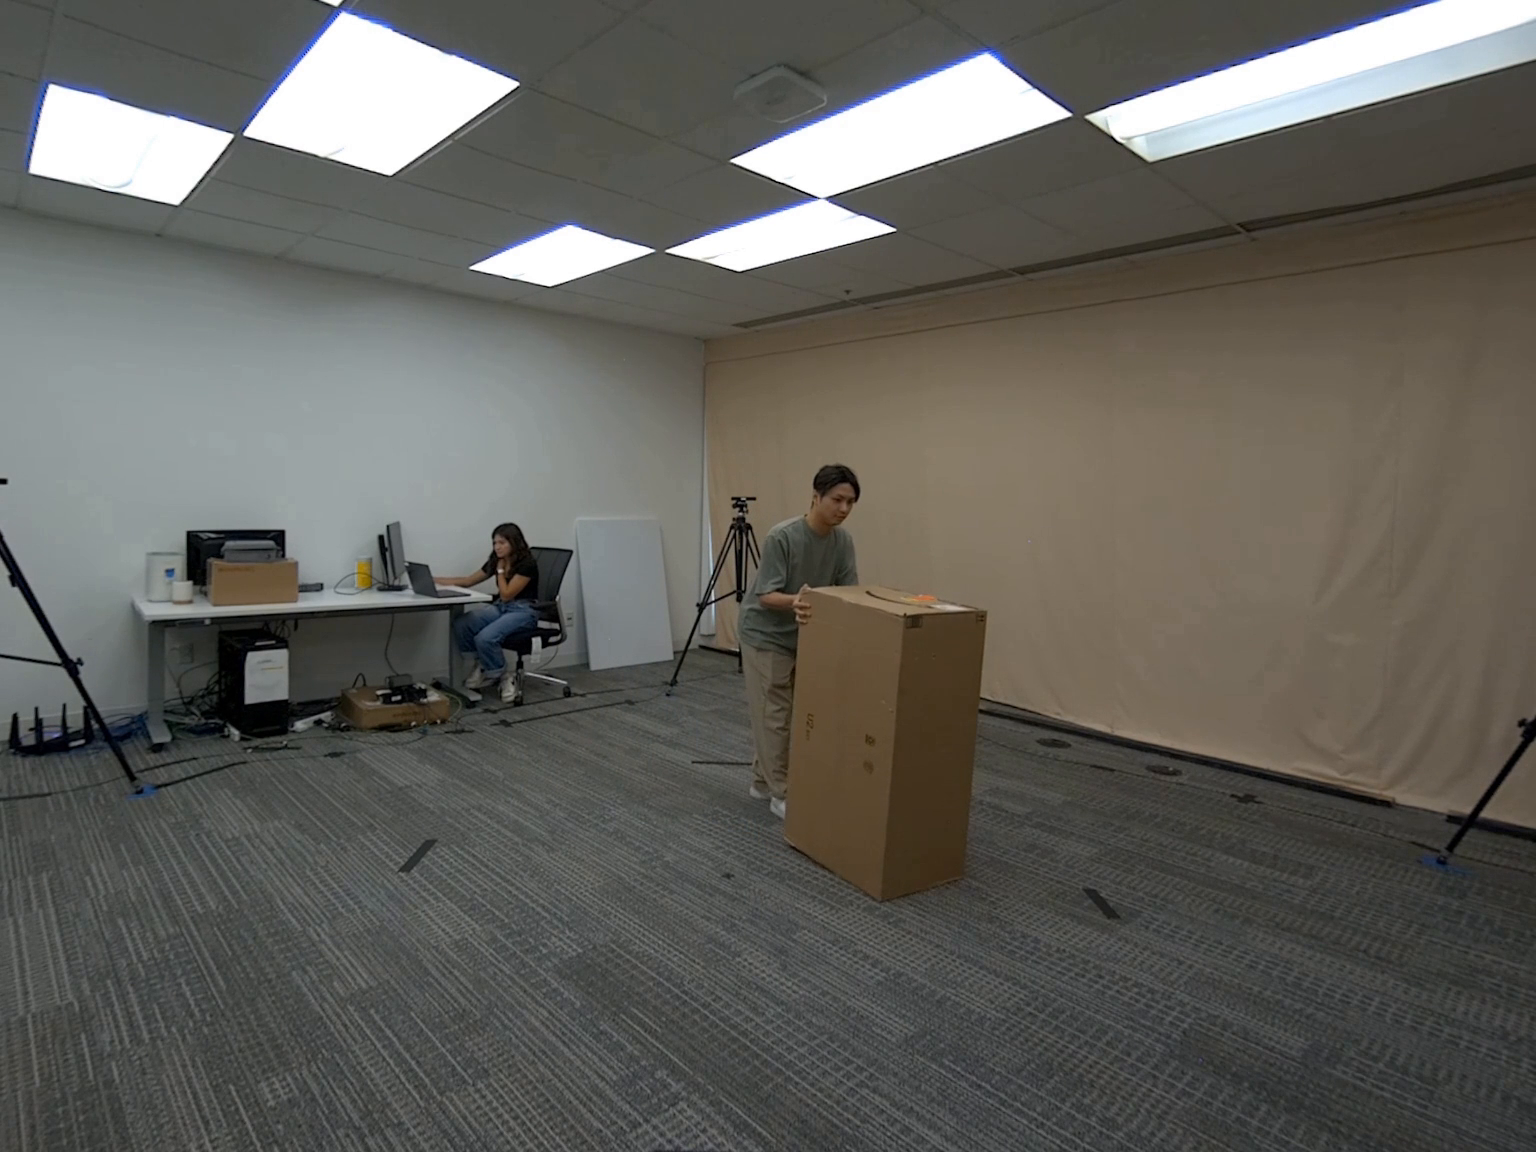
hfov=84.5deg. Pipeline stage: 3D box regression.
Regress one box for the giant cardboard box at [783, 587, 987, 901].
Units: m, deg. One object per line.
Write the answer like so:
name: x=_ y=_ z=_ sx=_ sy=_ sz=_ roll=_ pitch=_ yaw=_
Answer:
giant cardboard box: x=0.428 y=0.595 z=3.226 sx=0.417 sy=1.022 sz=0.592 roll=0 pitch=6 yaw=-35
